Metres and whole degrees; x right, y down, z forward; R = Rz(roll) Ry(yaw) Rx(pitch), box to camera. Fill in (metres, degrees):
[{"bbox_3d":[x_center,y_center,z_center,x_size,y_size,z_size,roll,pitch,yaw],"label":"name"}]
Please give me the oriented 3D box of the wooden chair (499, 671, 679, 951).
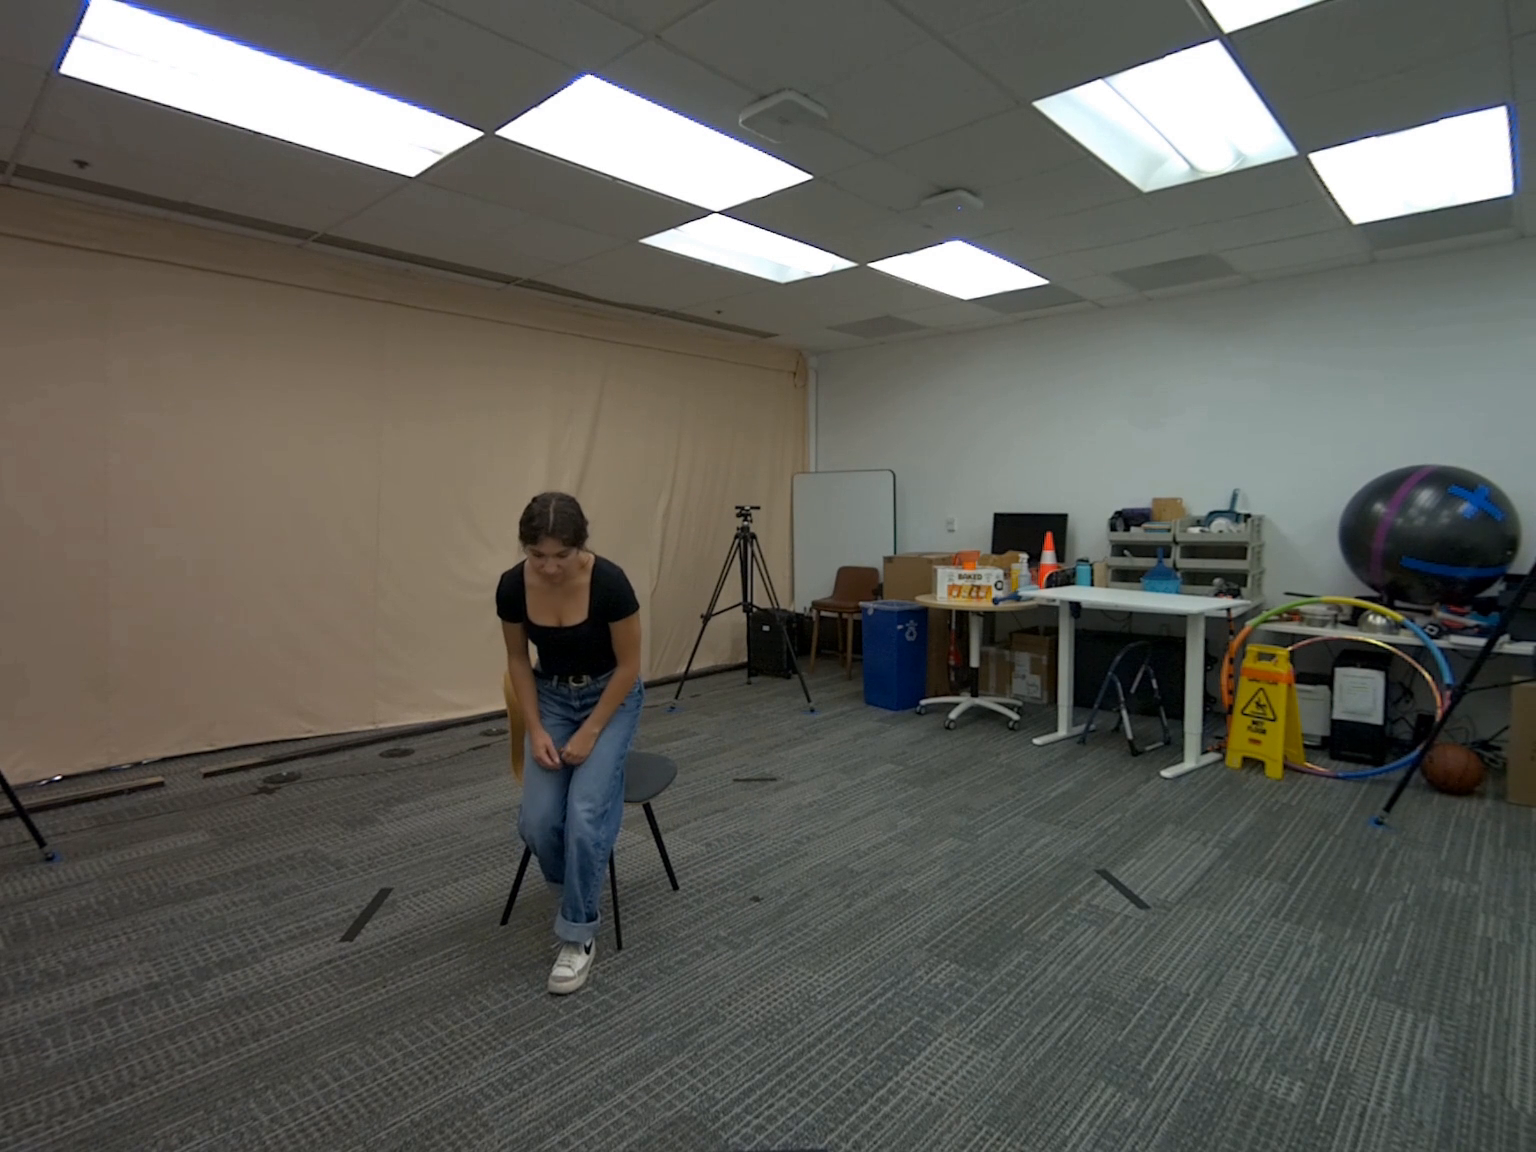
[{"bbox_3d":[-0.601,0.731,2.907,0.534,0.876,0.469,-4,3,20],"label":"wooden chair"}]
